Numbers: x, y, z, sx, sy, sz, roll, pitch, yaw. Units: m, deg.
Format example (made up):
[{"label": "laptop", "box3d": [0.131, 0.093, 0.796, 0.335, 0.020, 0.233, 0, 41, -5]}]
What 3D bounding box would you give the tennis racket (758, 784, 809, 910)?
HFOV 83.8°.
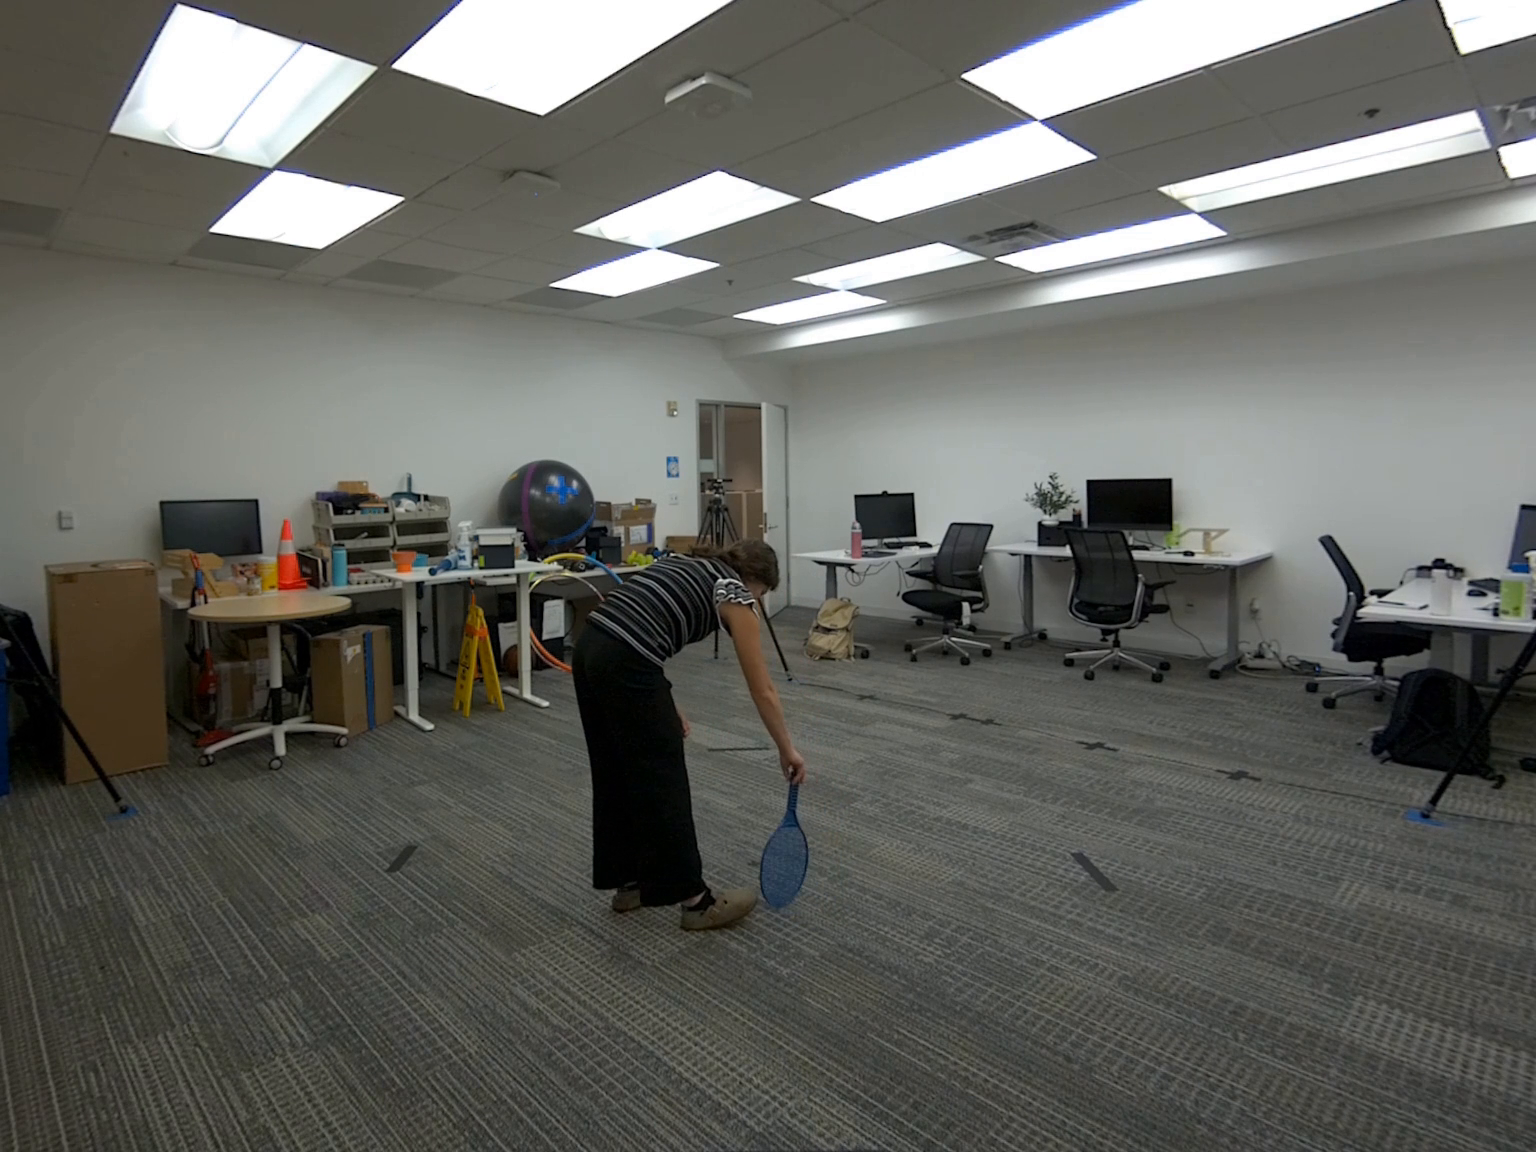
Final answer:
[{"label": "tennis racket", "box3d": [0.065, 0.864, 2.807, 0.207, 0.435, 0.032, 12, -9, -41]}]
